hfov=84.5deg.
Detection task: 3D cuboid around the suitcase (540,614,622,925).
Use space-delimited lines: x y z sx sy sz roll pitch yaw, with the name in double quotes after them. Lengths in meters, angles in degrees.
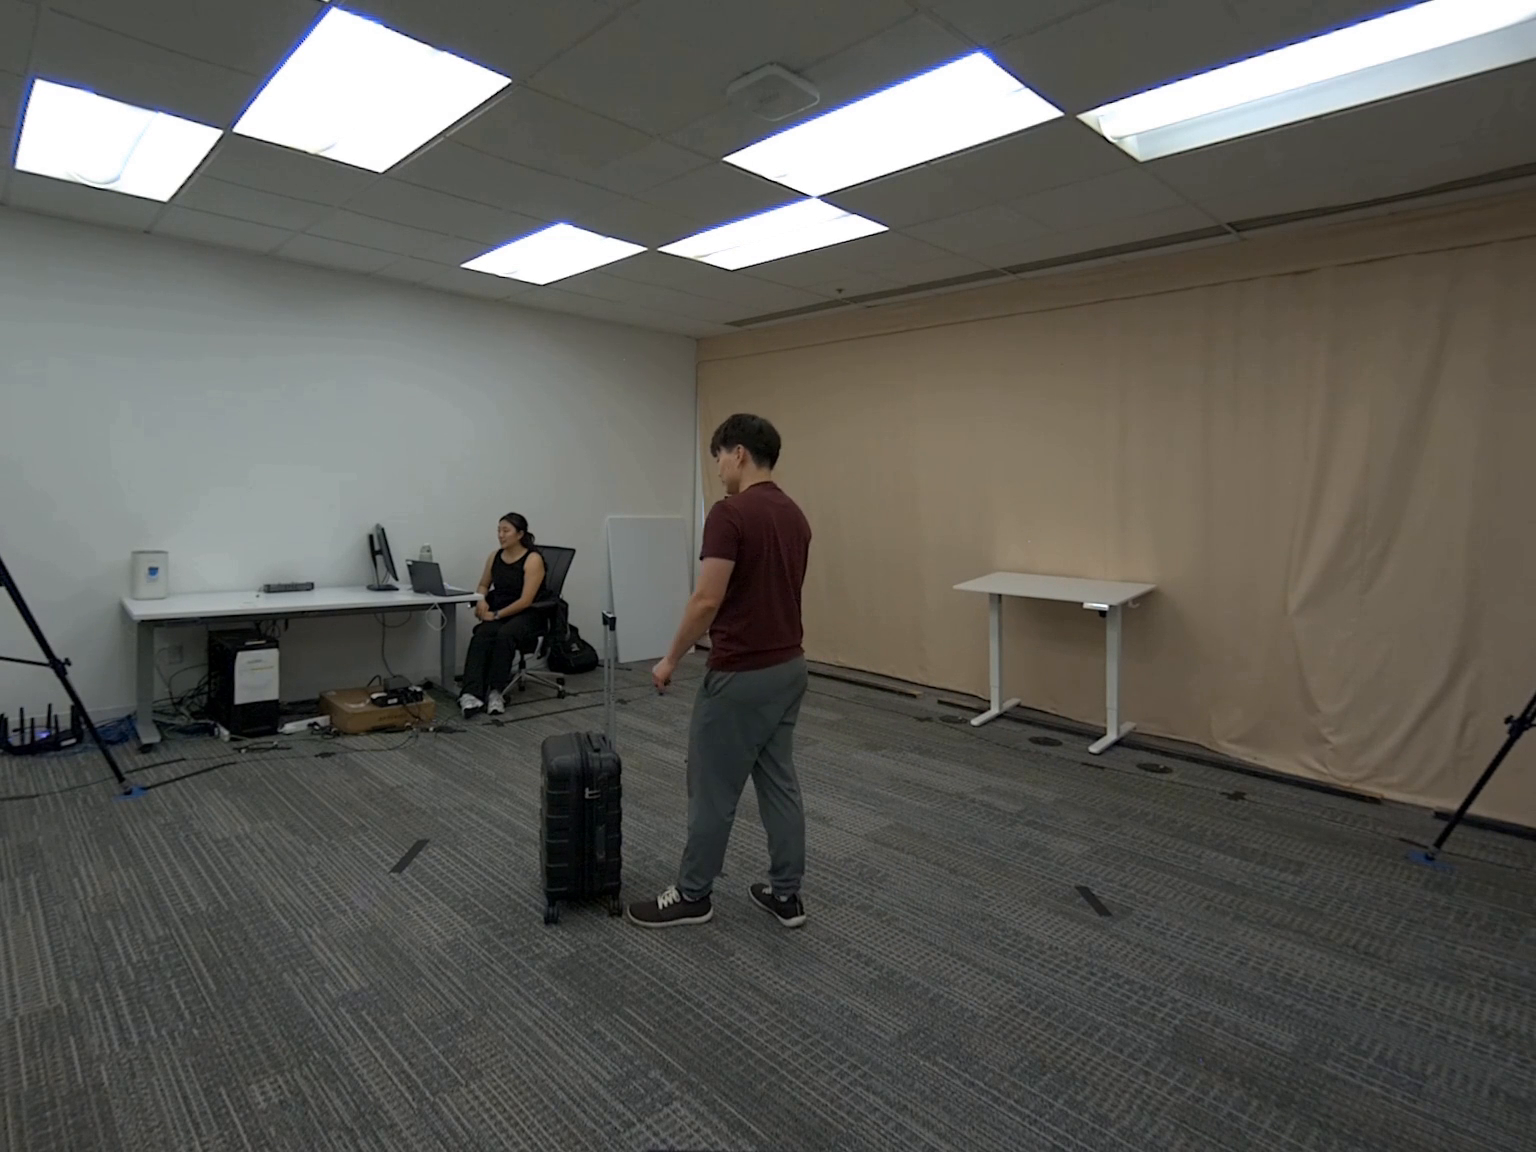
-0.656 0.636 2.890 0.254 0.976 0.389 -1 4 -16 "suitcase"
